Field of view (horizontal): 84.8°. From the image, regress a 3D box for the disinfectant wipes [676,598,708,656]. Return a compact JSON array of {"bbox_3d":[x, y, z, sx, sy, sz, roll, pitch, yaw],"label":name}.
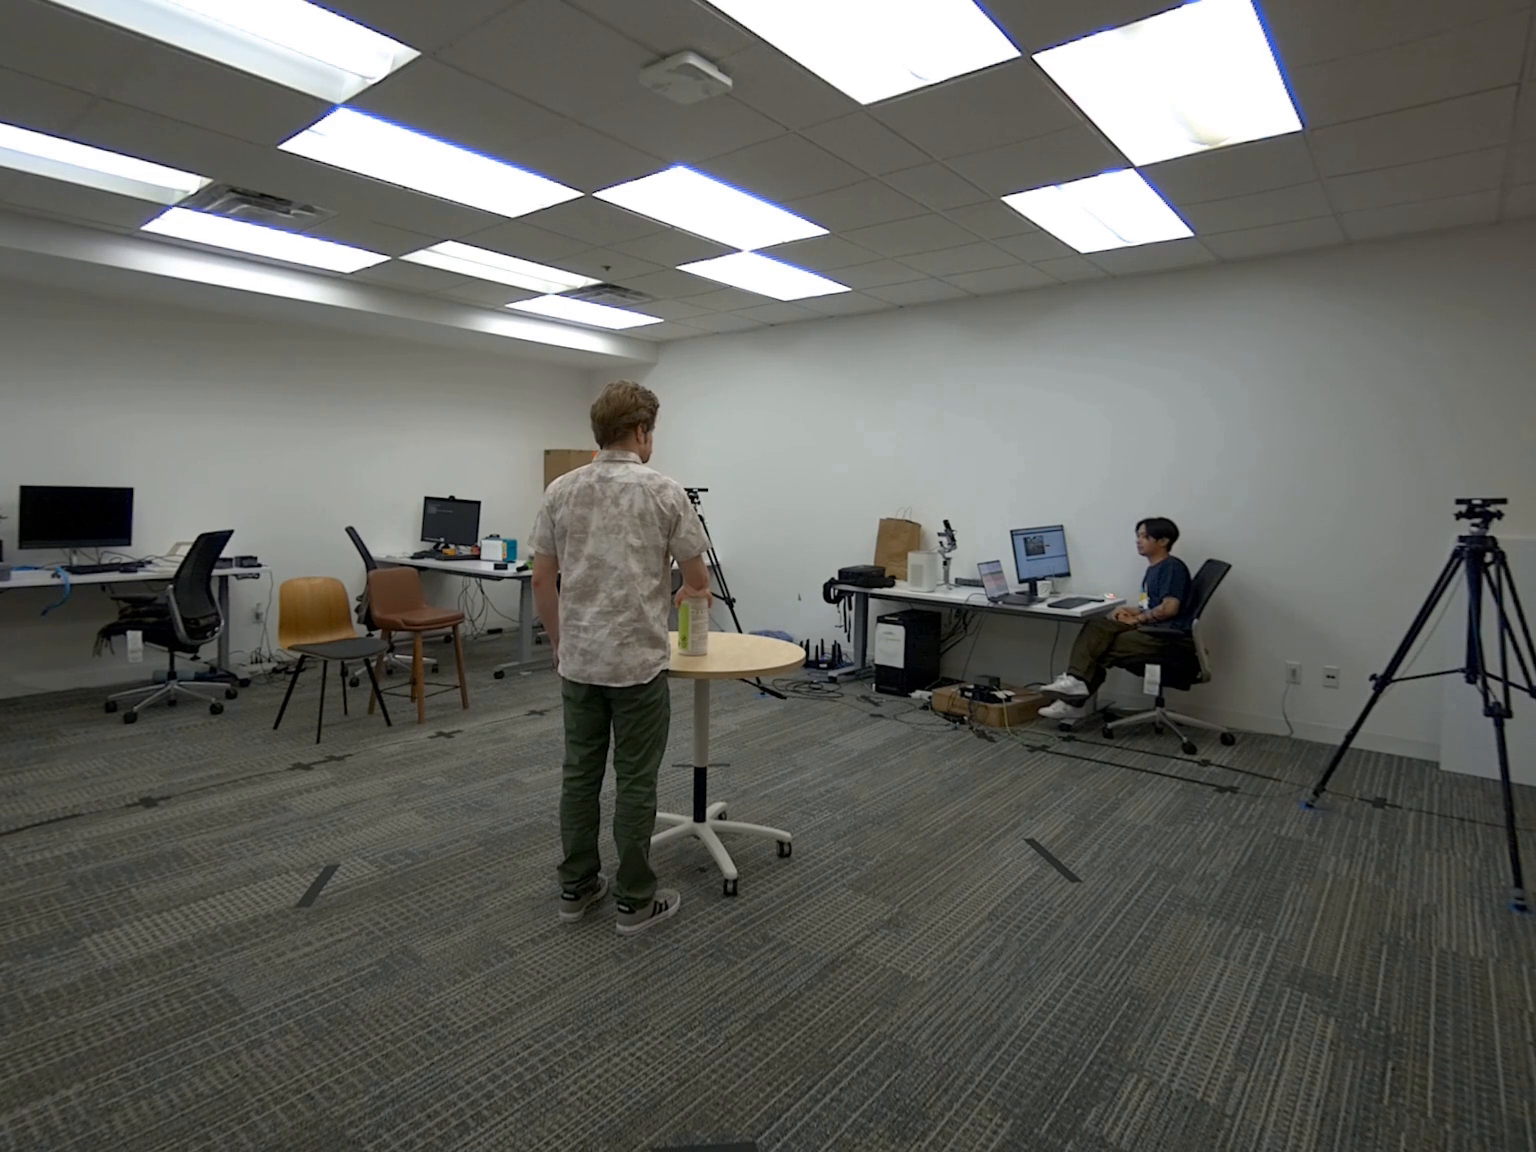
[{"bbox_3d":[-0.278,0.174,3.080,0.118,0.217,0.118,0,3,-2],"label":"disinfectant wipes"}]
